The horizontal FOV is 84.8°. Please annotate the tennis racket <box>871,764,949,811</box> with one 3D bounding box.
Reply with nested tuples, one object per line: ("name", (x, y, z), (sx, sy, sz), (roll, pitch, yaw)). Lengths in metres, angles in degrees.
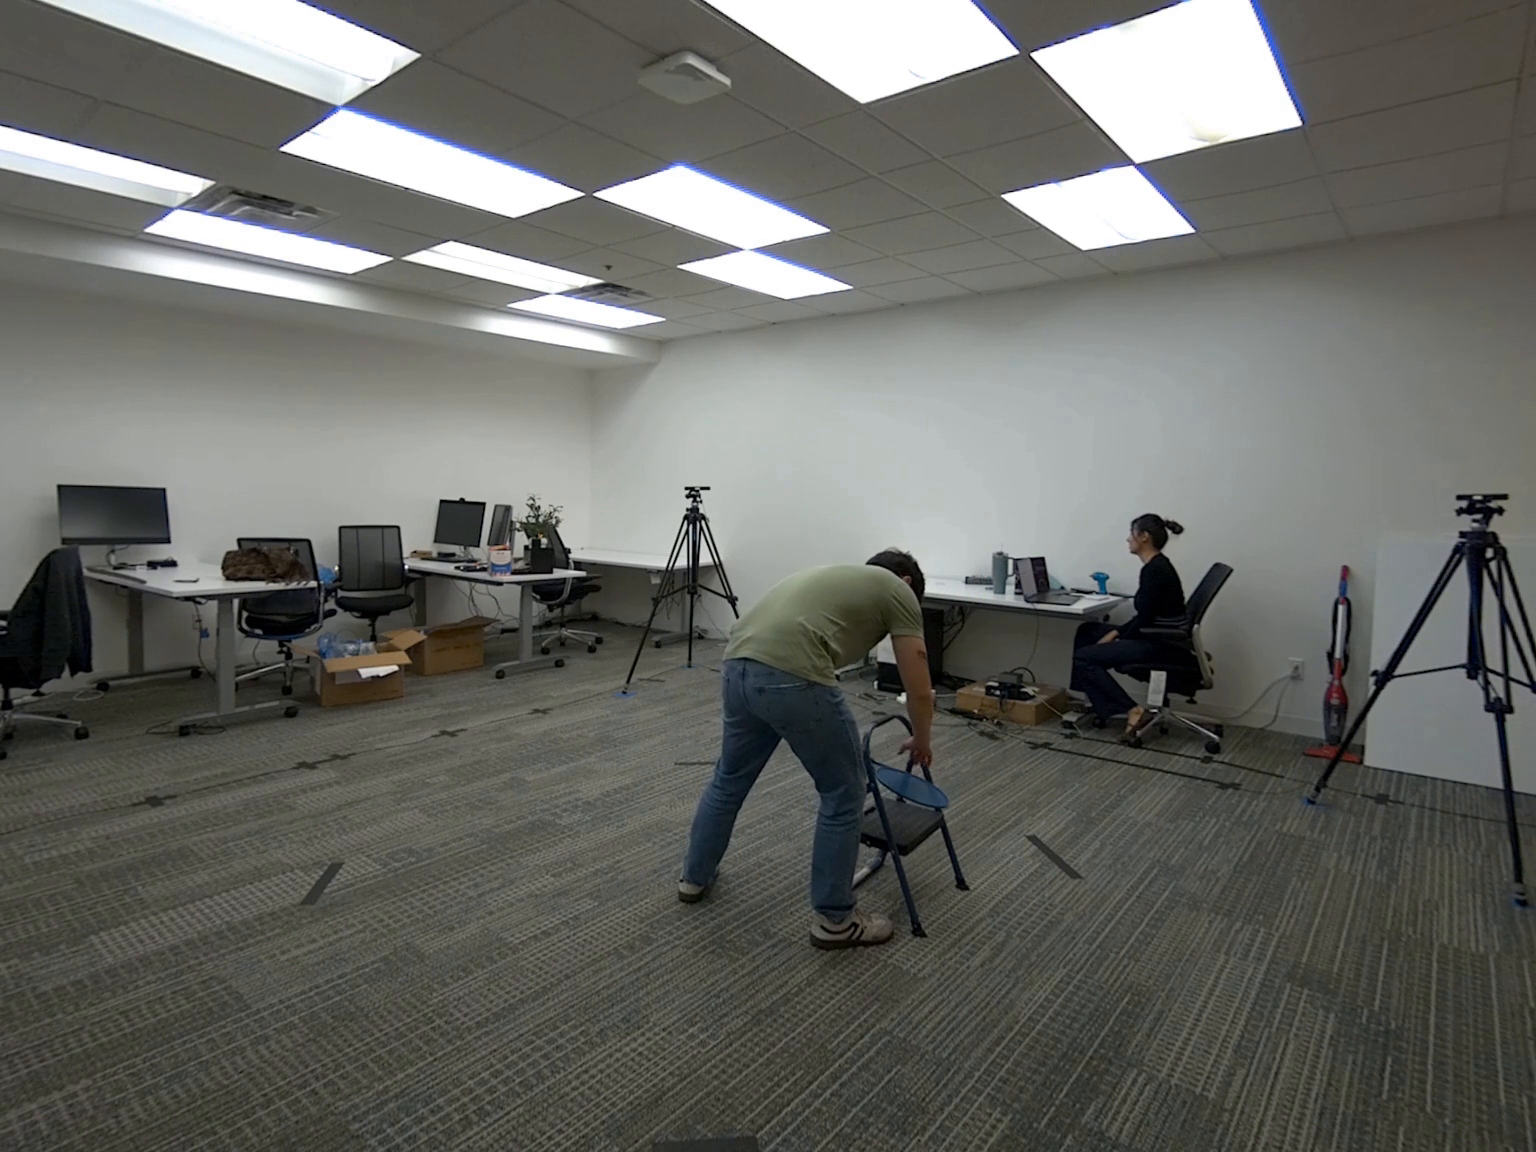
("tennis racket", (0.393, 0.686, 2.891), (0.451, 0.031, 0.206), (25, 13, 39))
